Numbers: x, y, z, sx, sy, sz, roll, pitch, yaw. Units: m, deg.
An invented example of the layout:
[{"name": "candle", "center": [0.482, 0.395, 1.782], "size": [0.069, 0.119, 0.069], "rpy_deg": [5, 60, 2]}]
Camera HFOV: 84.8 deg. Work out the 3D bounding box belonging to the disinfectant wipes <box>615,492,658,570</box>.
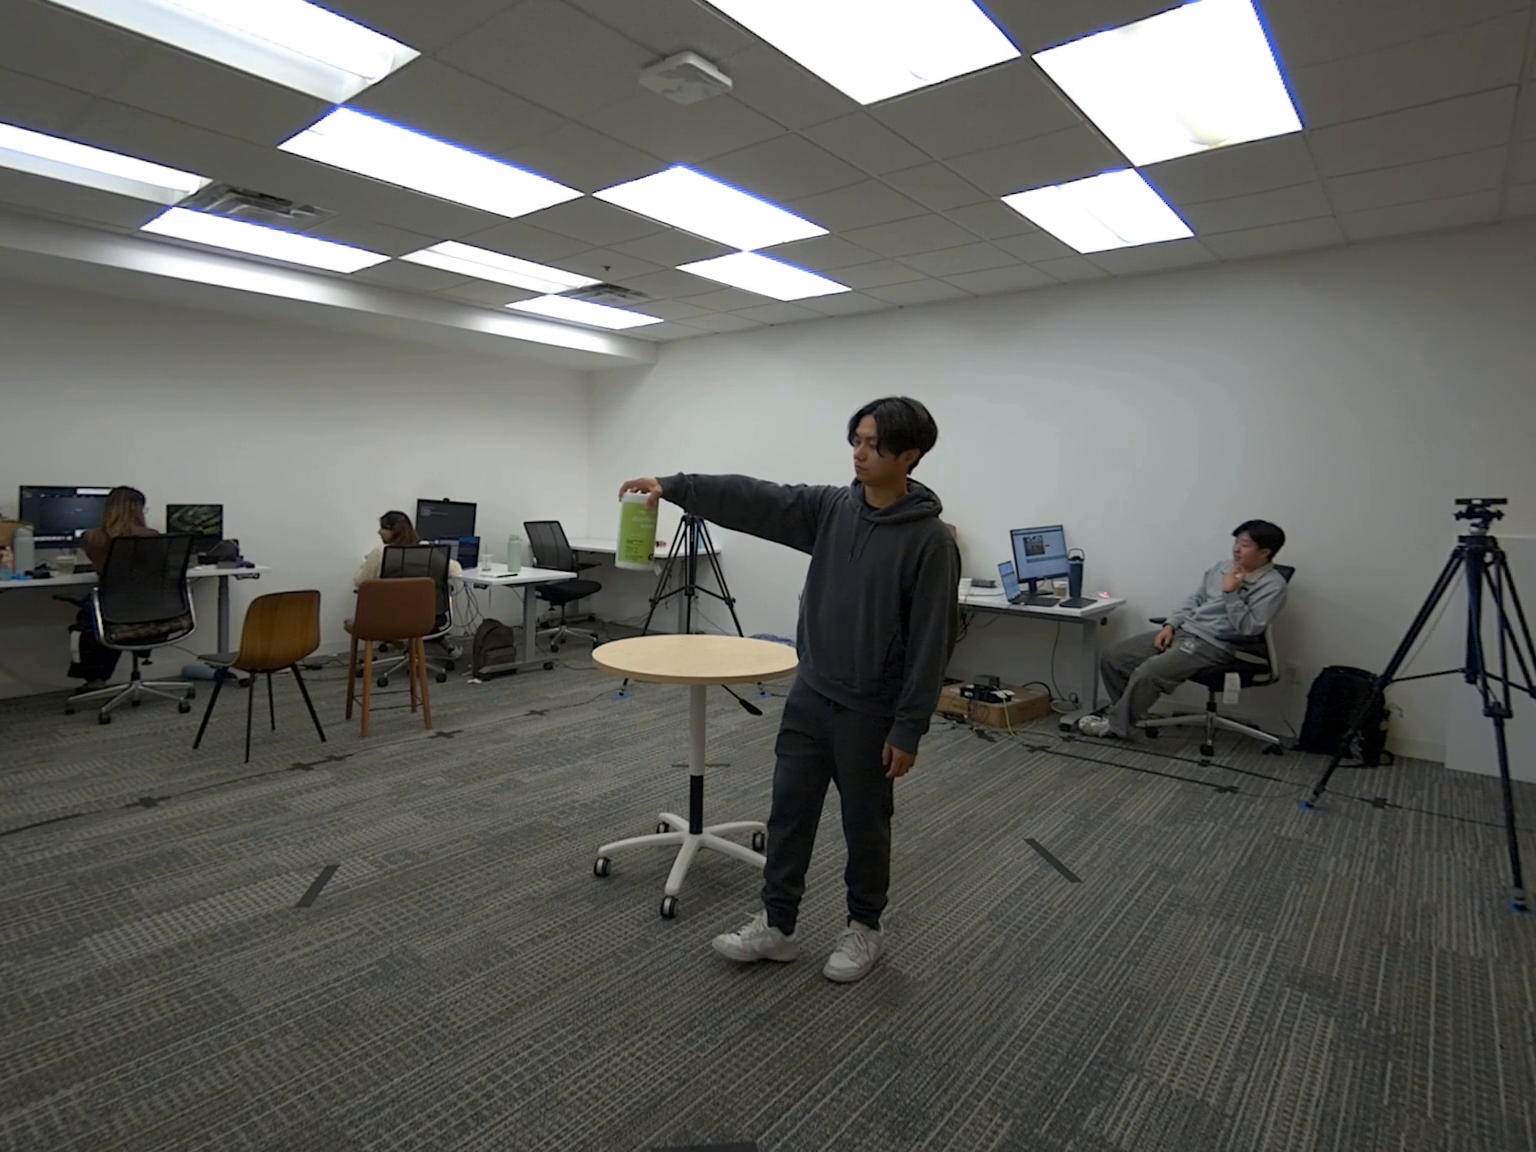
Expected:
[{"name": "disinfectant wipes", "center": [-0.385, -0.128, 2.422], "size": [0.117, 0.217, 0.118], "rpy_deg": [5, 1, -2]}]
